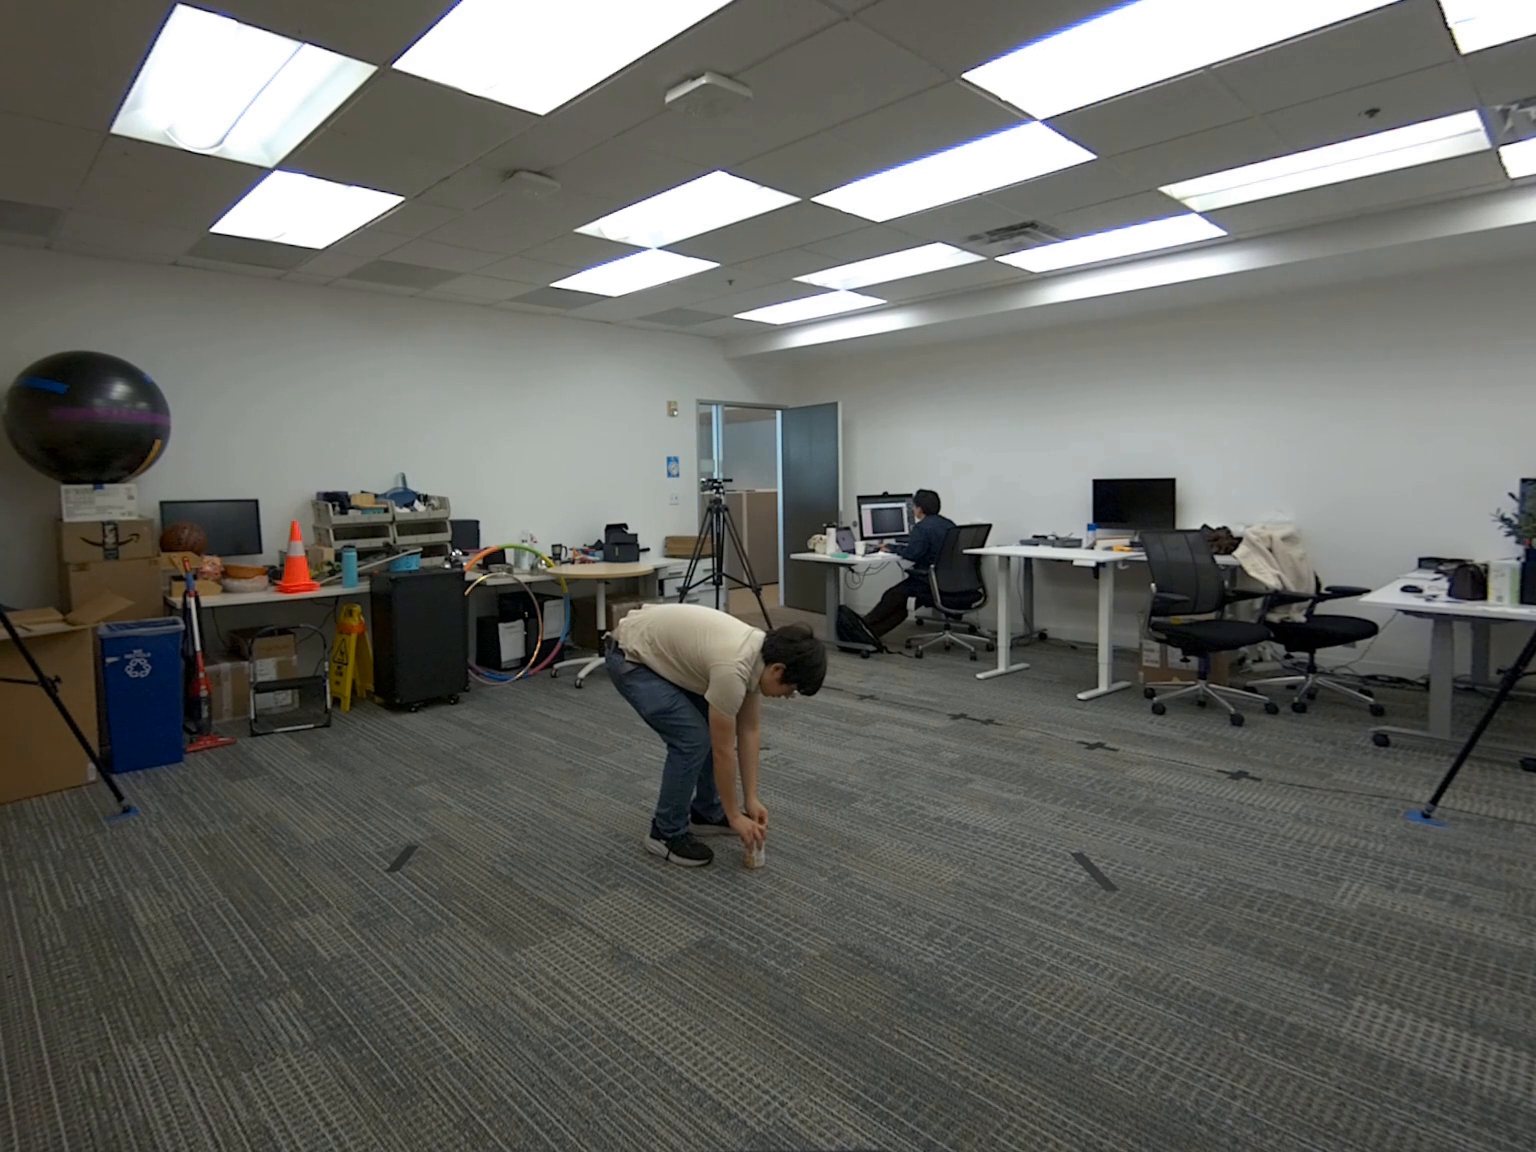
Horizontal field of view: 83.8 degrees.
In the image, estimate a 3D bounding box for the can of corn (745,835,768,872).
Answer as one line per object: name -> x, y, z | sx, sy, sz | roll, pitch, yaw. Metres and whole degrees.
can of corn -> -0.045, 0.992, 3.092 | 0.074, 0.111, 0.074 | -2, 2, -2
